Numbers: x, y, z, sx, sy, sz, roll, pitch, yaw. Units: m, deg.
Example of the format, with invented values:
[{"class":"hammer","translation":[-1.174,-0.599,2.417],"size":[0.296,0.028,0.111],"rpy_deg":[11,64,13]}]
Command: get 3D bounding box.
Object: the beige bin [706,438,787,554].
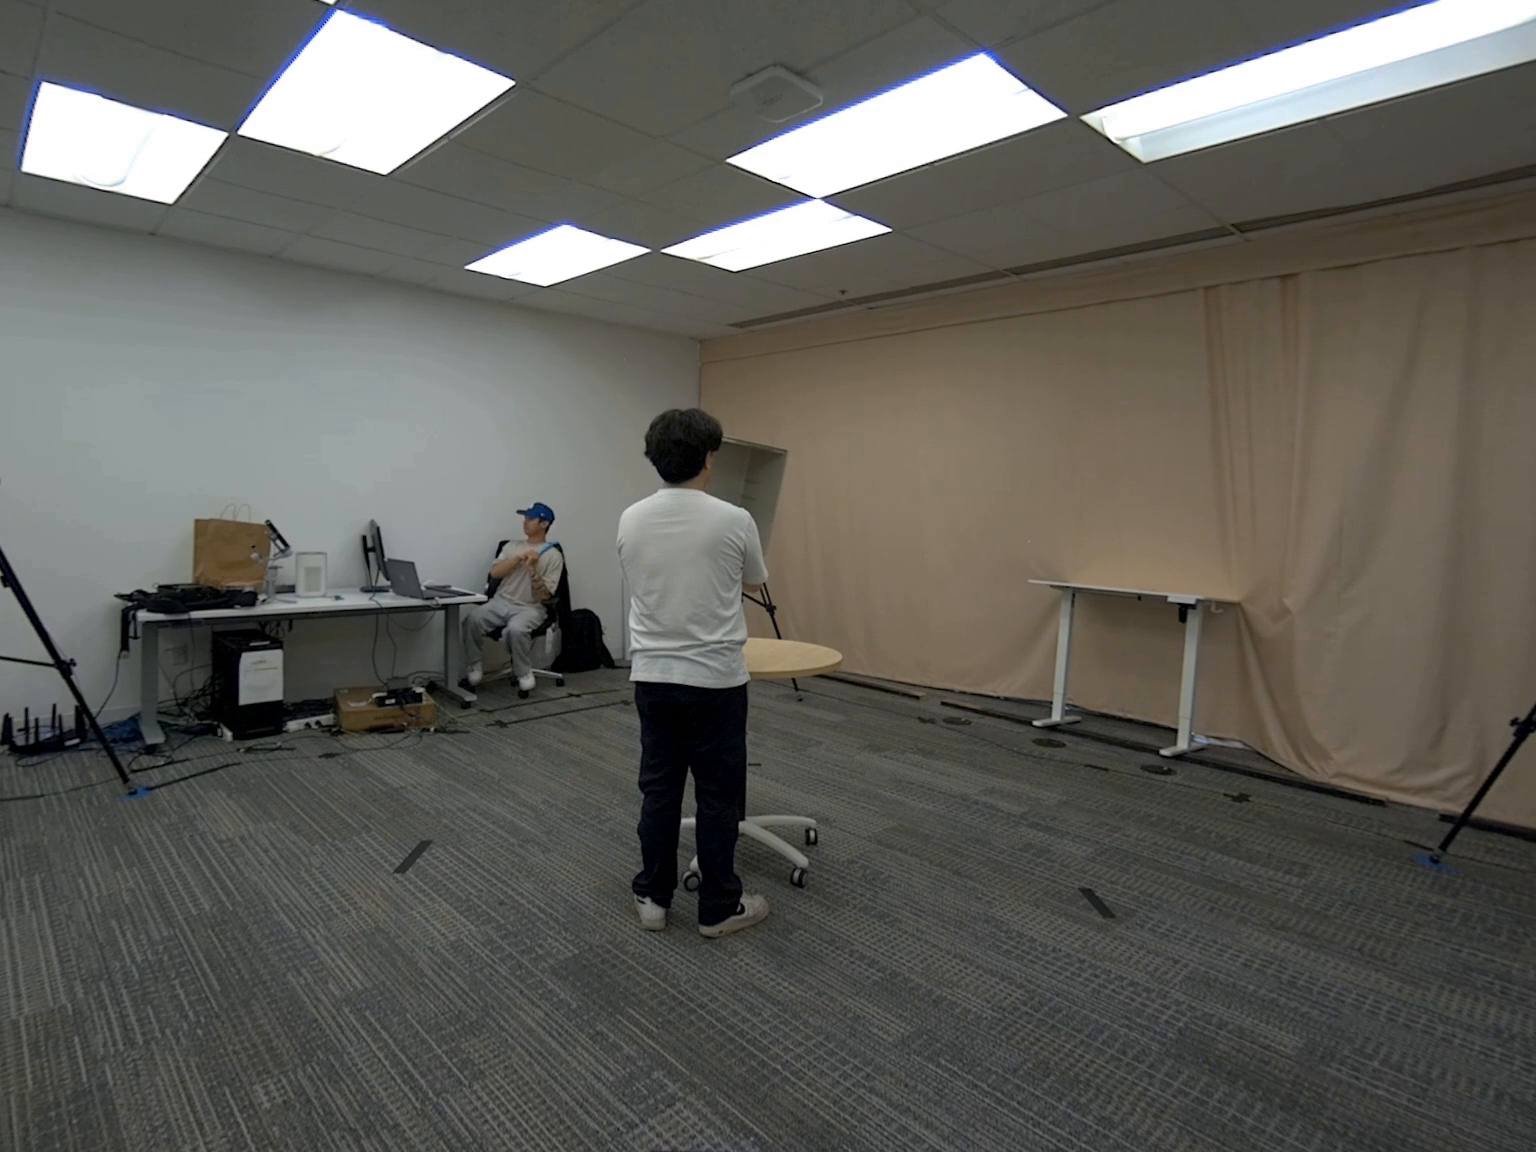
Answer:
[{"class":"beige bin","translation":[-0.147,-0.298,3.124],"size":[0.194,0.421,0.368],"rpy_deg":[15,8,35]}]
